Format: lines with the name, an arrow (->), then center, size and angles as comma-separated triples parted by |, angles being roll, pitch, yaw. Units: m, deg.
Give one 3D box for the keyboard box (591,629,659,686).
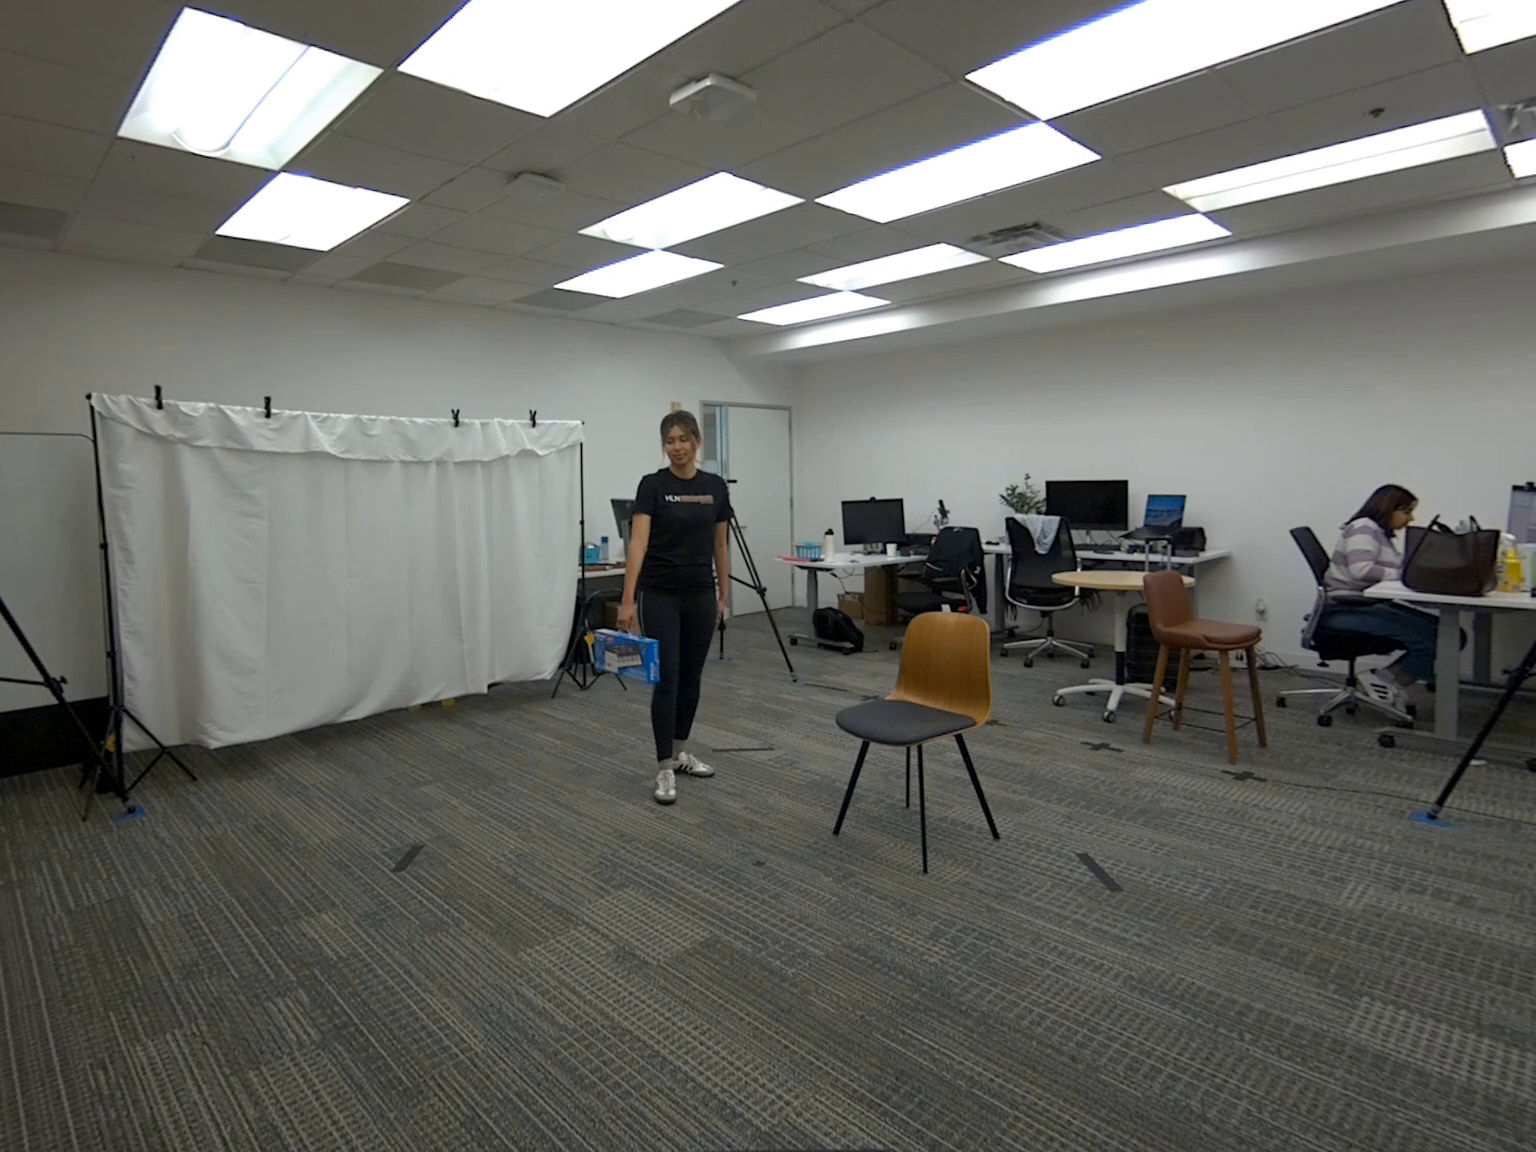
keyboard box -> -0.614, 0.344, 3.672 | 0.057, 0.175, 0.450 | -3, 5, -40
